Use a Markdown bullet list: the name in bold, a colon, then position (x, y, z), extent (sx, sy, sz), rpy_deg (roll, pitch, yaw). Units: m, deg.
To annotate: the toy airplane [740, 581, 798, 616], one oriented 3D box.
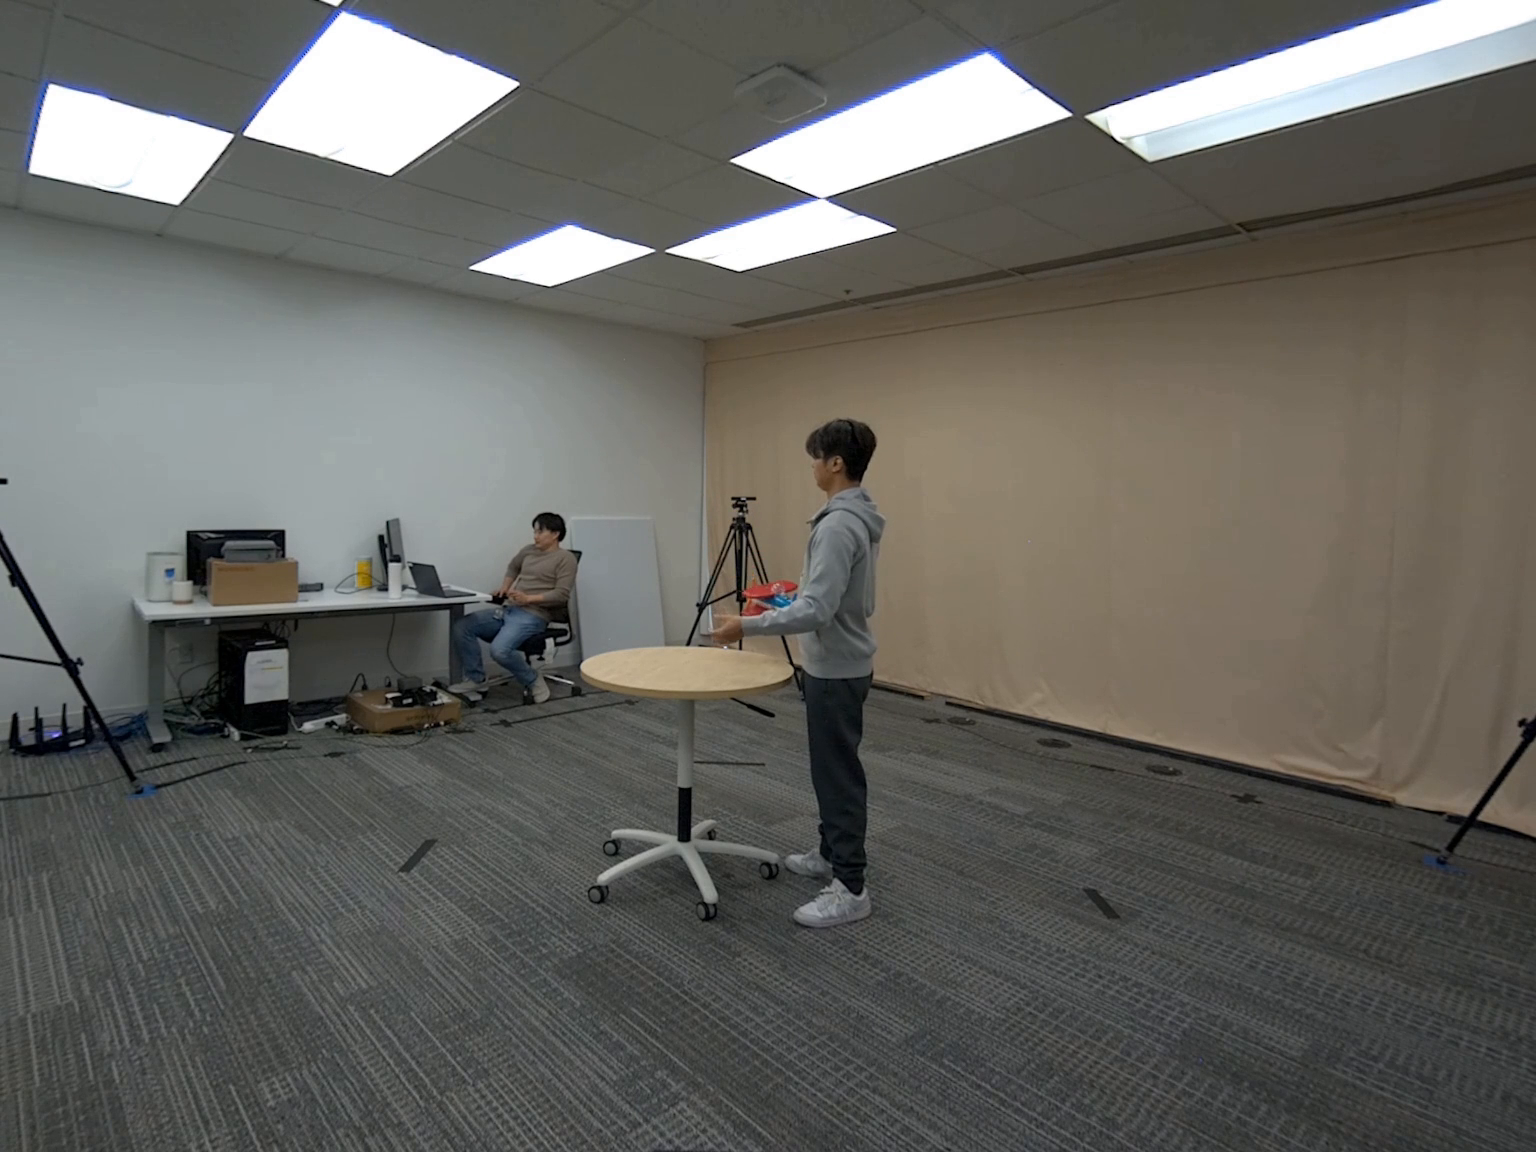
- **toy airplane**: position (0.022, 0.090, 3.211), extent (0.263, 0.156, 0.248), rpy_deg (-3, 7, 22)
